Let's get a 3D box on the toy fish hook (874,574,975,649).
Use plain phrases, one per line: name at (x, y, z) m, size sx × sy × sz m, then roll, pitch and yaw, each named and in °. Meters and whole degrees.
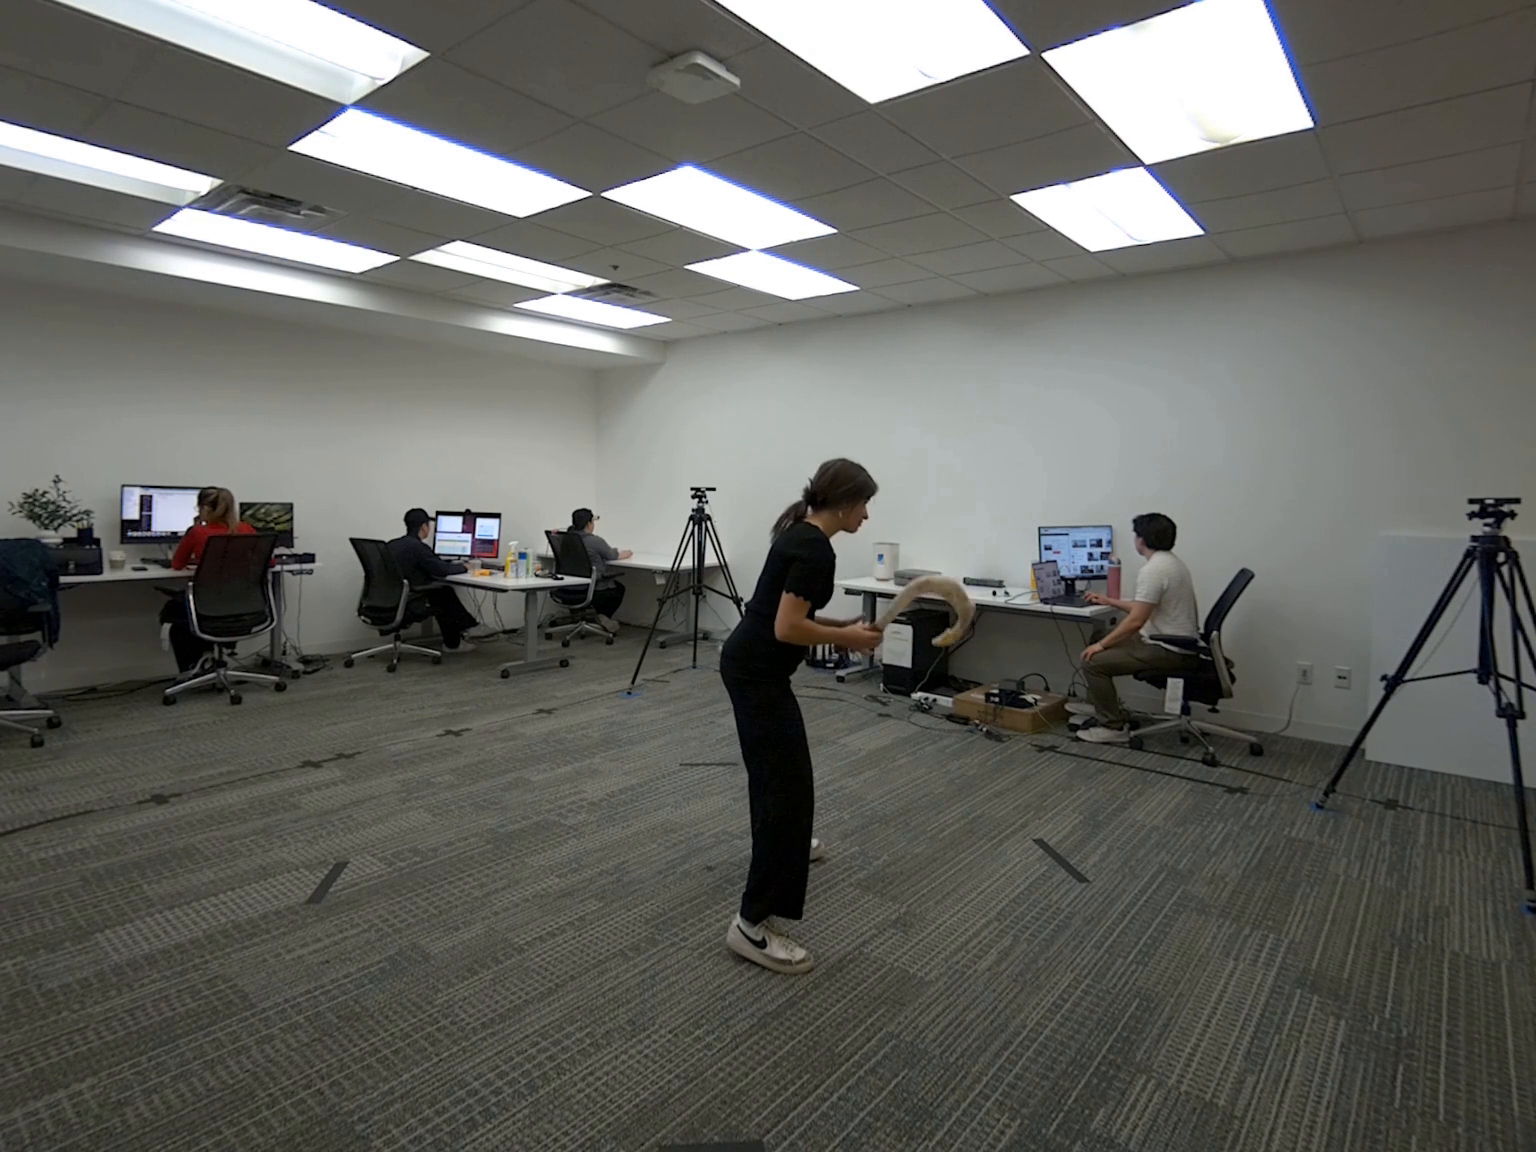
toy fish hook at (0.400, 0.180, 2.676) m, size 0.511 × 0.226 × 0.047 m, roll -35°, pitch -5°, yaw 37°
